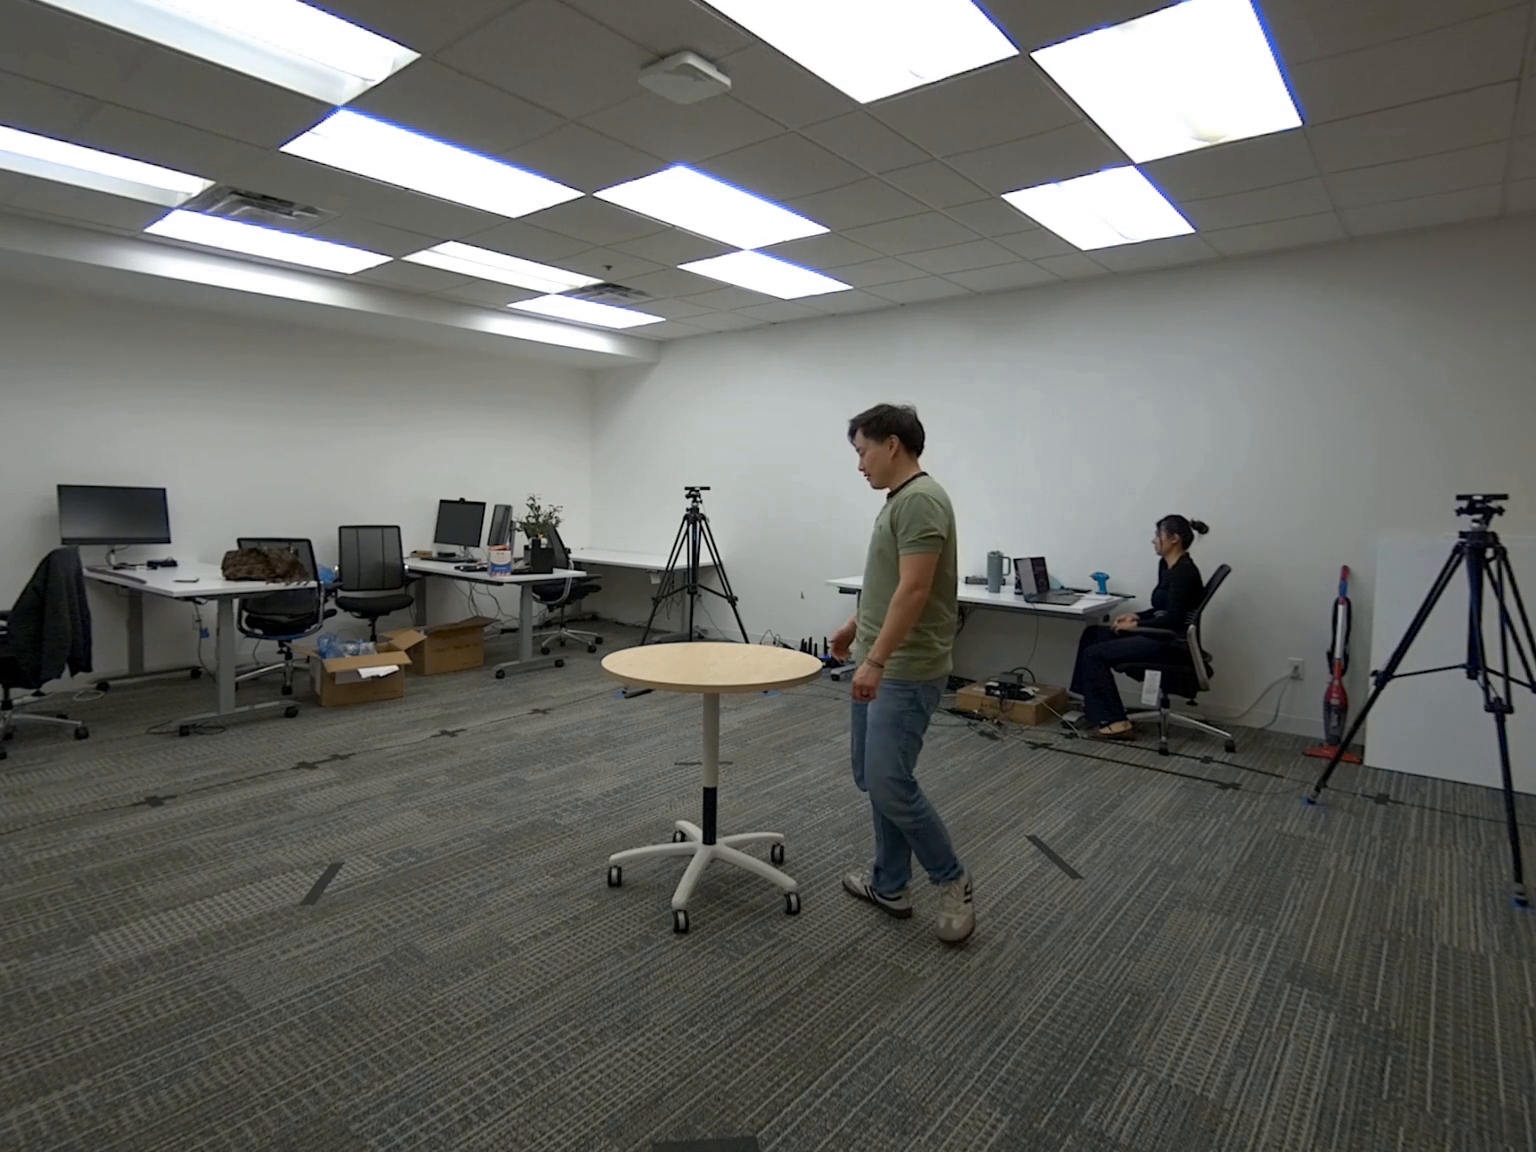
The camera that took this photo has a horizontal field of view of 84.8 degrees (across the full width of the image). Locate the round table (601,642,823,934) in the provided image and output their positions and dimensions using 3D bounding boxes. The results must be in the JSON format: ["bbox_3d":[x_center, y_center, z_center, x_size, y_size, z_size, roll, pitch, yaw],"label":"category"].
[{"bbox_3d":[-0.216,0.687,2.983,0.763,0.792,0.767,1,3,-2],"label":"round table"}]
